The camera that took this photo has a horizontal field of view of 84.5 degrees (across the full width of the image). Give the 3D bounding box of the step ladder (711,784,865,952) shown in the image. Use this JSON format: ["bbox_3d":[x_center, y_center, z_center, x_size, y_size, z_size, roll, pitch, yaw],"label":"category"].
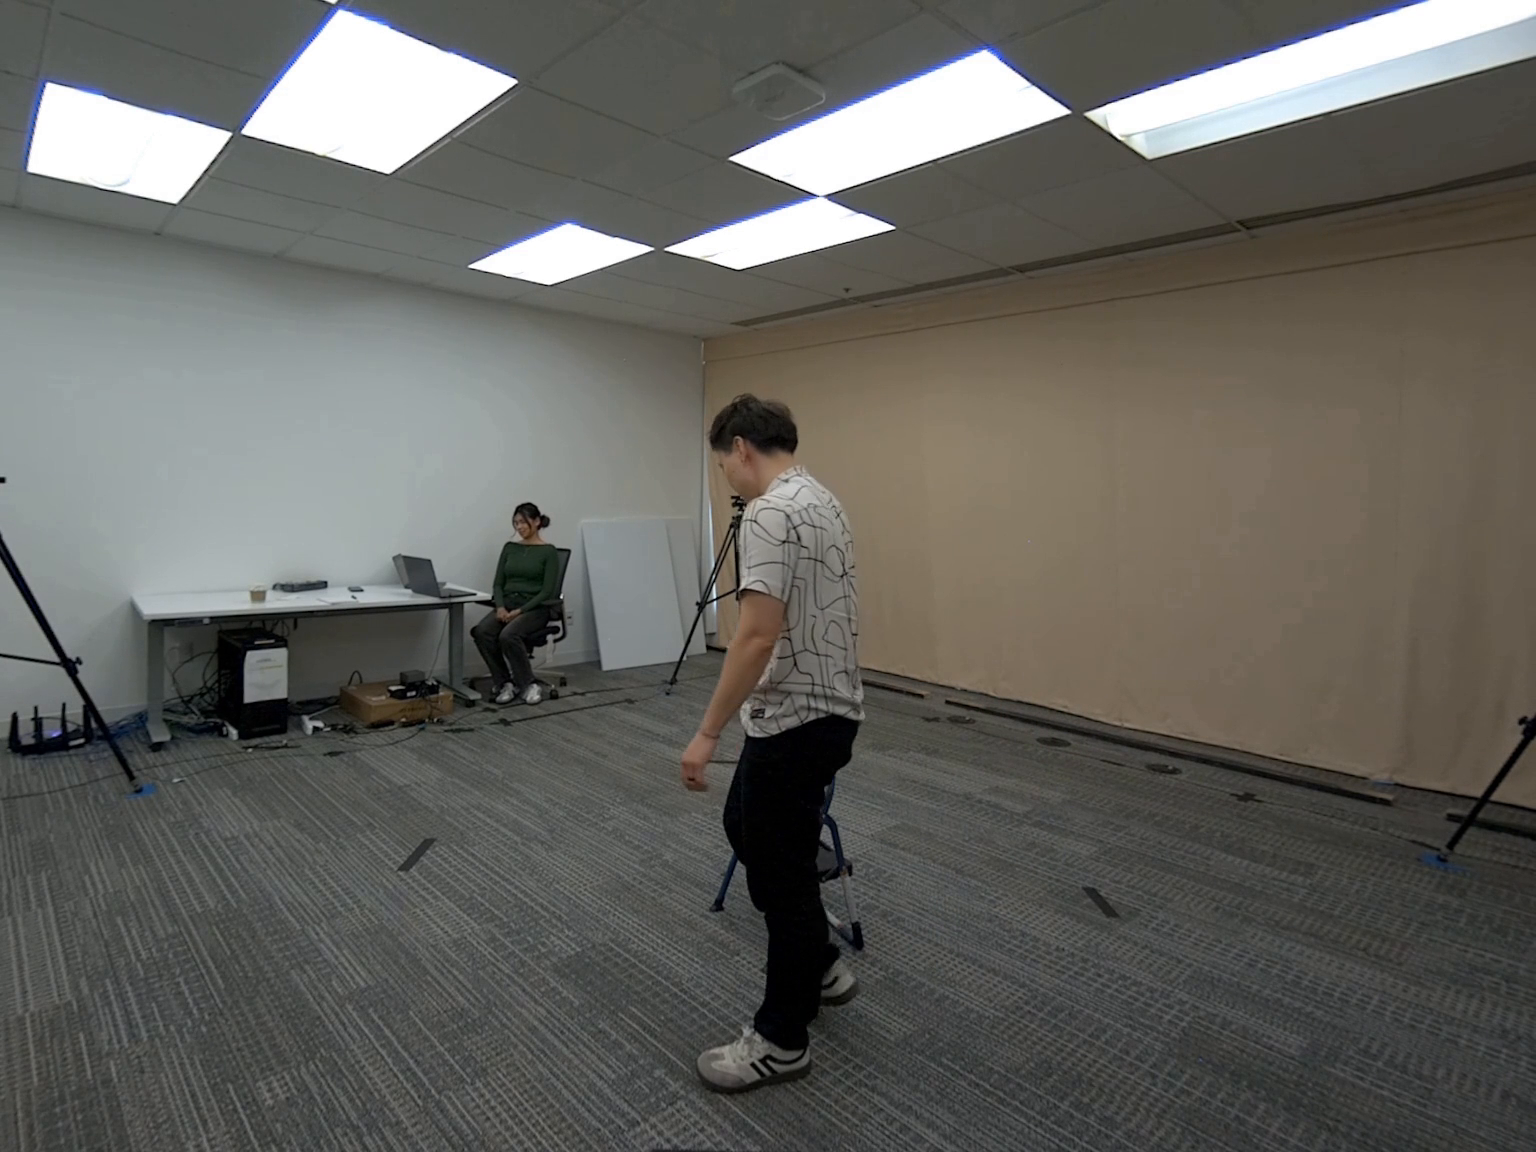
[{"bbox_3d":[0.058,0.843,2.702,0.343,0.604,0.440,-1,5,-26],"label":"step ladder"}]
